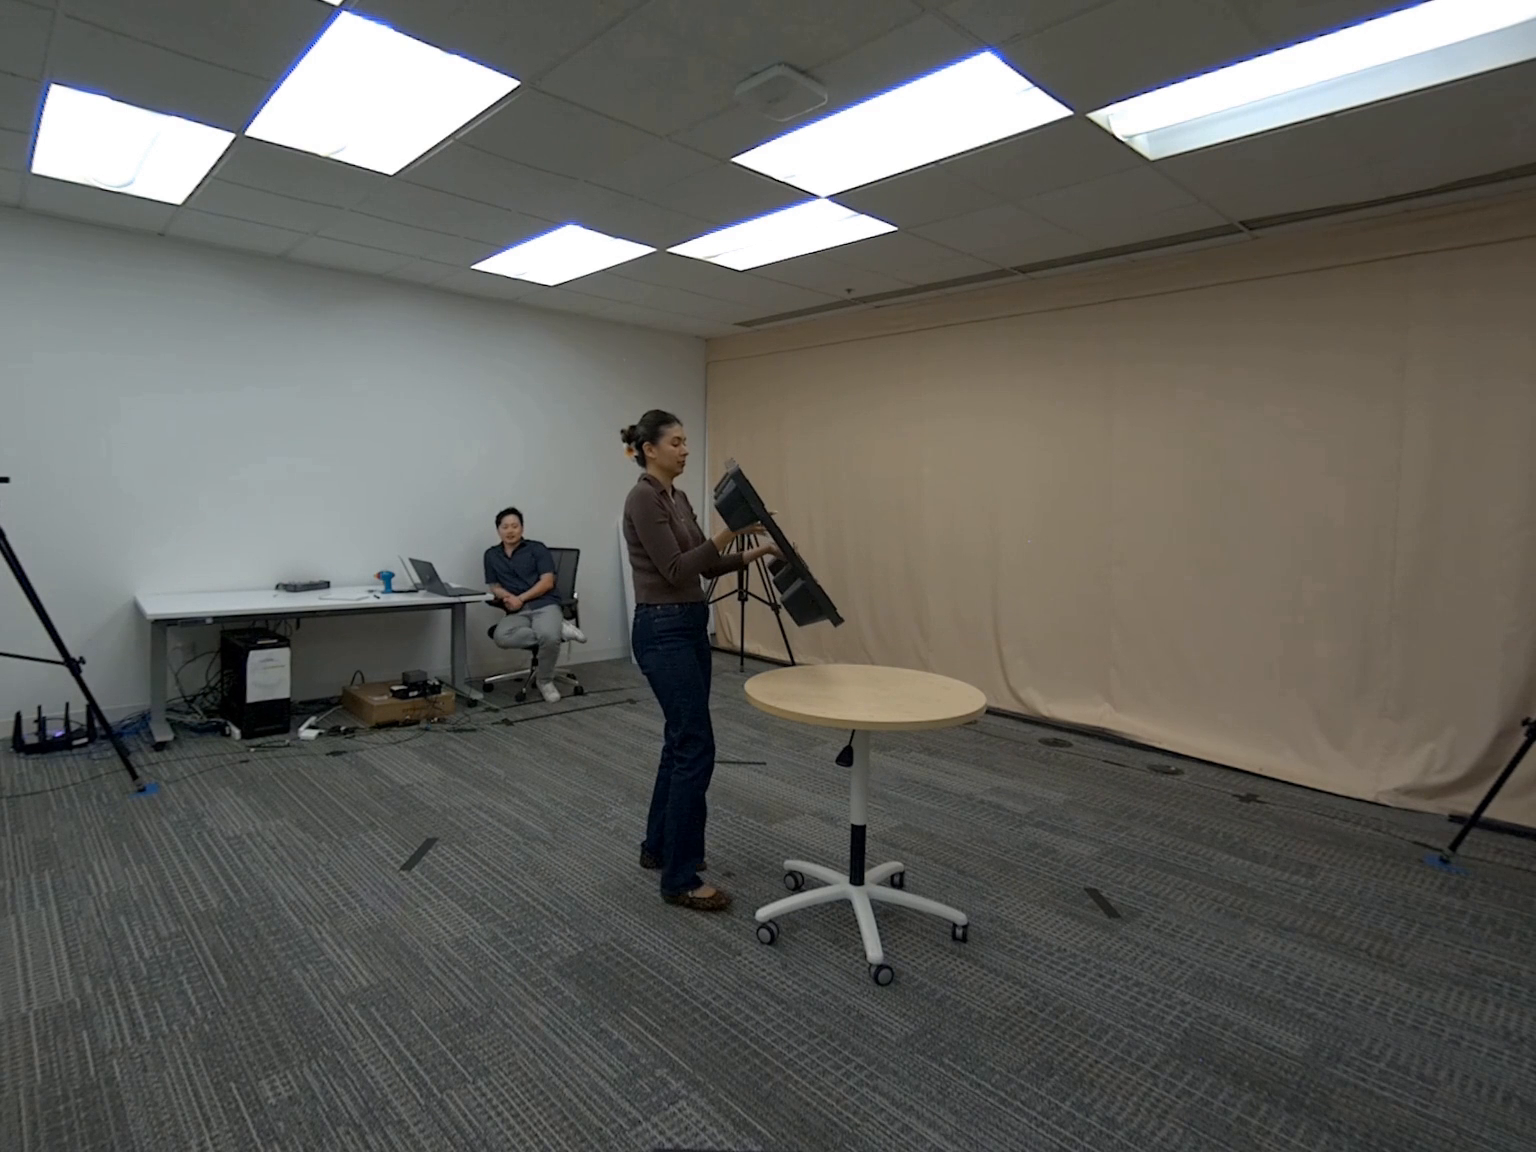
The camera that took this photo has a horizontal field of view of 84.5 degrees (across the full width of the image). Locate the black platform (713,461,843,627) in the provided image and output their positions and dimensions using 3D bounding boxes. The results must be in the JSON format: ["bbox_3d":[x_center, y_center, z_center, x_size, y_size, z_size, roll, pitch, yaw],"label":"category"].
[{"bbox_3d":[-0.009,-0.121,2.997,0.143,0.600,0.812,-32,9,2],"label":"black platform"}]
